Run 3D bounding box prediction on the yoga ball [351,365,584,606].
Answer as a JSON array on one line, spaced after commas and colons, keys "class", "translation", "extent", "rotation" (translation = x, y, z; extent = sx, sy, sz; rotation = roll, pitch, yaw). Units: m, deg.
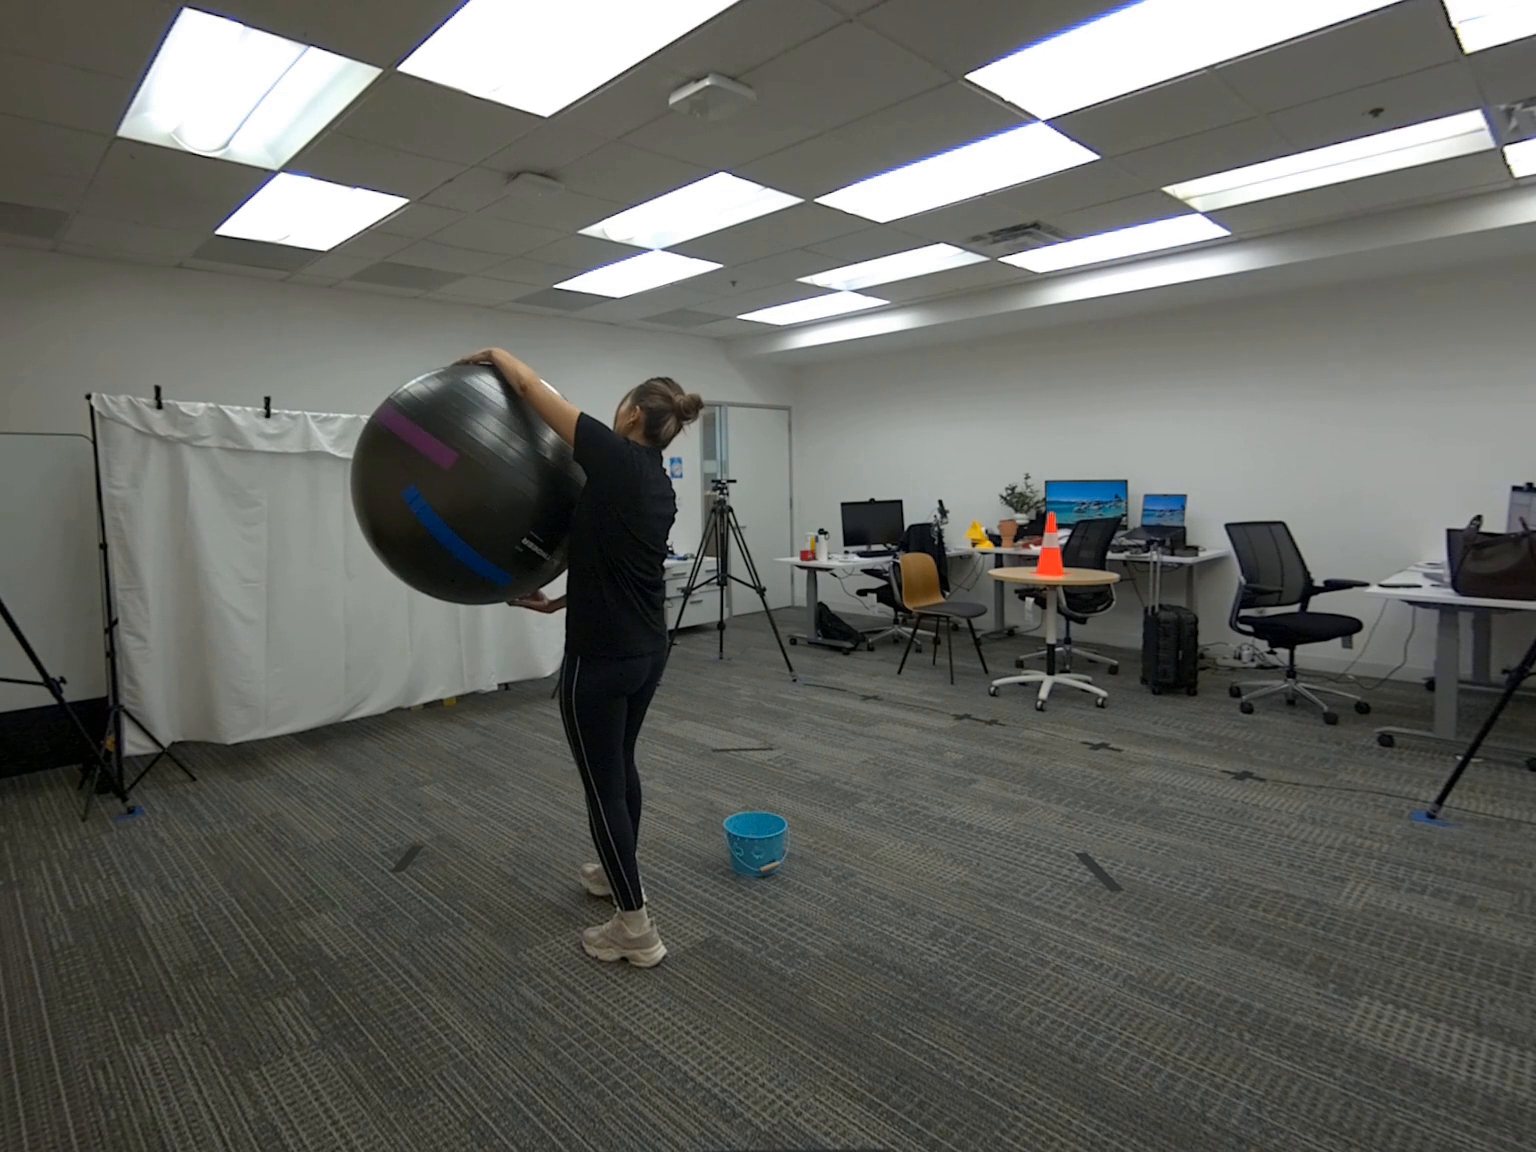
[{"class": "yoga ball", "translation": [-0.911, -0.285, 2.683], "extent": [0.757, 0.755, 0.762], "rotation": [-1, 5, -2]}]
